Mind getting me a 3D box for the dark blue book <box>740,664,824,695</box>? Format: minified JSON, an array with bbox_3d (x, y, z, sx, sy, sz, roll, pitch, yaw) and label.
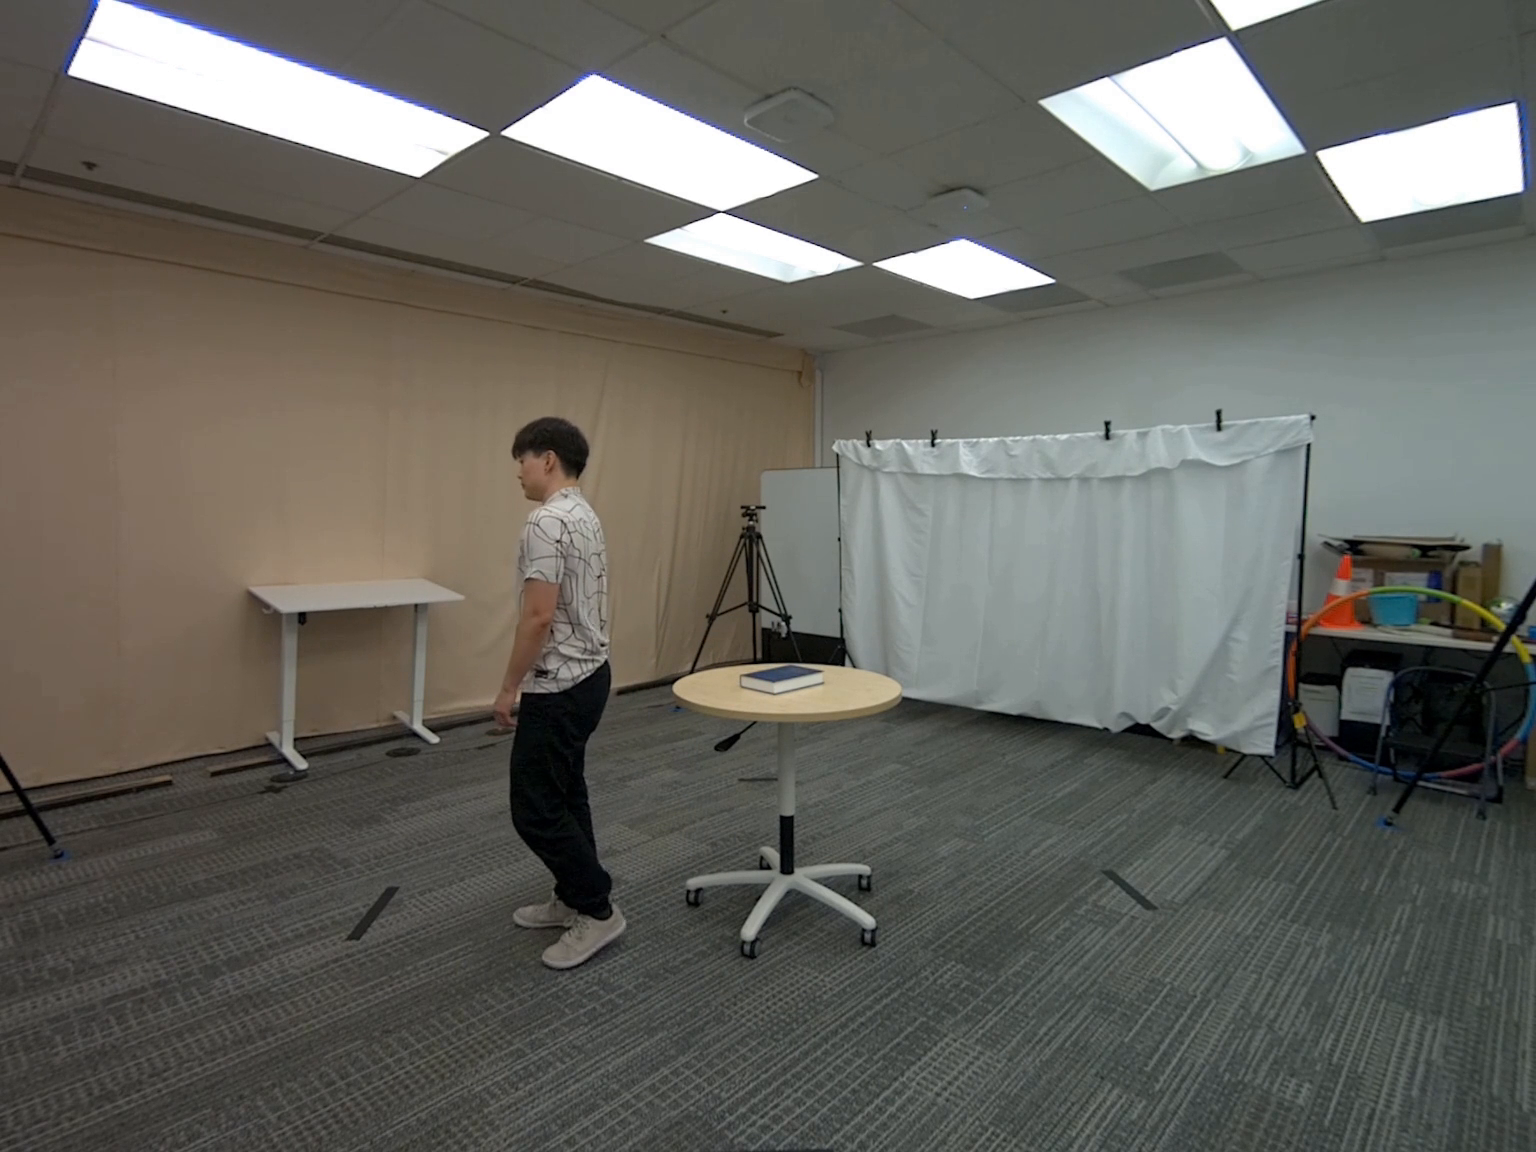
[{"bbox_3d":[0.056,0.356,2.828,0.238,0.045,0.169,-5,6,-43],"label":"dark blue book"}]
